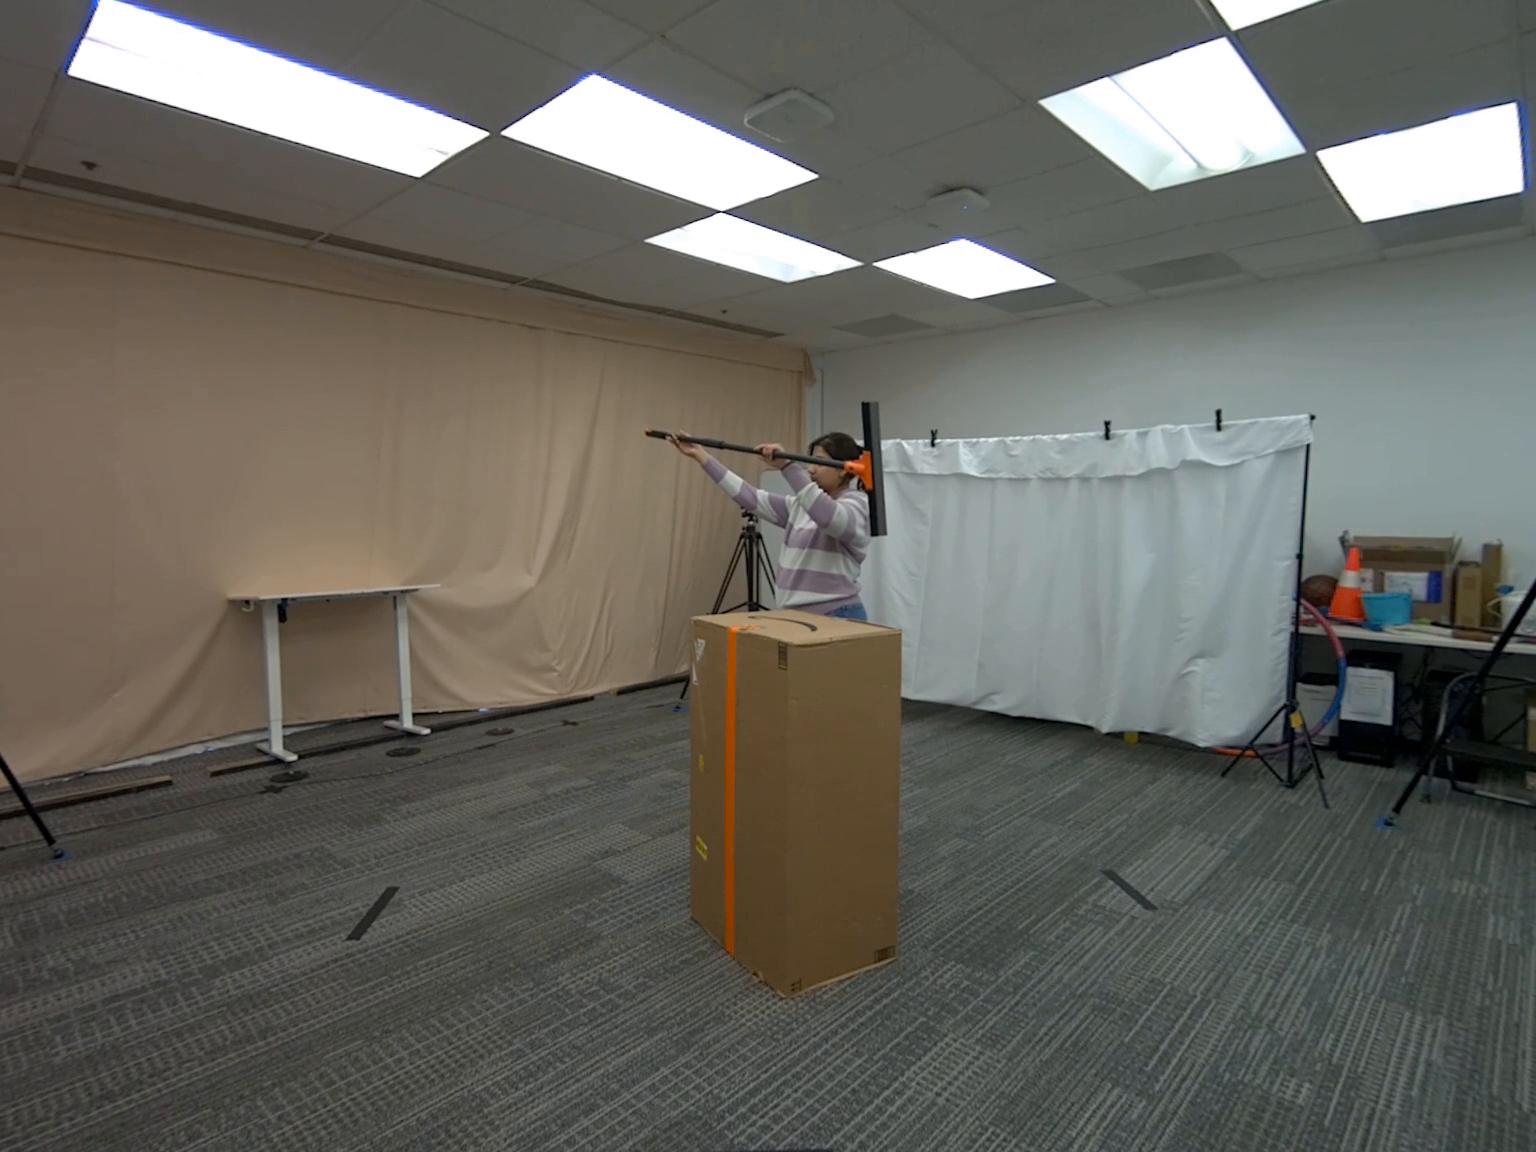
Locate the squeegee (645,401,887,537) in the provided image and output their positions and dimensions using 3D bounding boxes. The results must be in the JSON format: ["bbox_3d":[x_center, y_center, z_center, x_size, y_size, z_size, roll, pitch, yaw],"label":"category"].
[{"bbox_3d":[-0.106,-0.488,3.259,0.052,0.432,1.591,-18,22,-31],"label":"squeegee"}]
